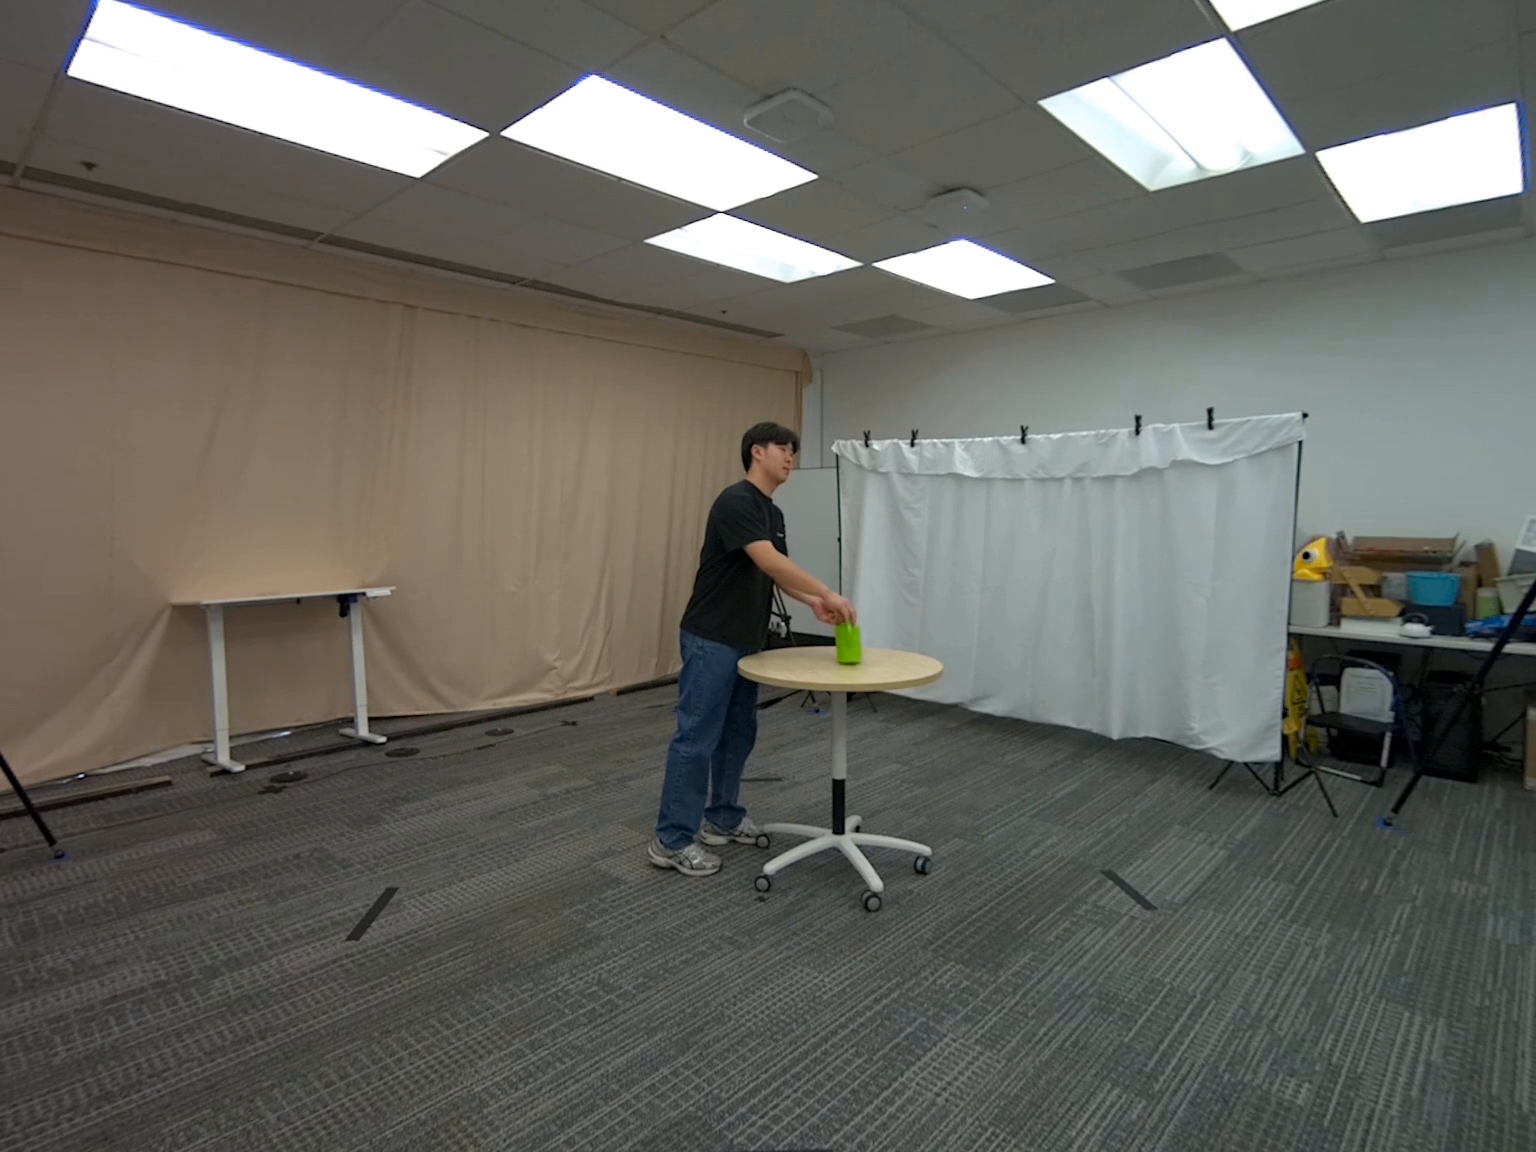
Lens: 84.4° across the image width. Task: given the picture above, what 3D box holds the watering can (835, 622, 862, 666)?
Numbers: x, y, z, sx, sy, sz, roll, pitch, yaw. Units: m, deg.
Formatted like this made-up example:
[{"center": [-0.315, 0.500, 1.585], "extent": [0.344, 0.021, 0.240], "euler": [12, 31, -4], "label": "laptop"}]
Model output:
[{"center": [0.317, 0.234, 3.230], "extent": [0.099, 0.177, 0.274], "euler": [-3, 1, 13], "label": "watering can"}]
